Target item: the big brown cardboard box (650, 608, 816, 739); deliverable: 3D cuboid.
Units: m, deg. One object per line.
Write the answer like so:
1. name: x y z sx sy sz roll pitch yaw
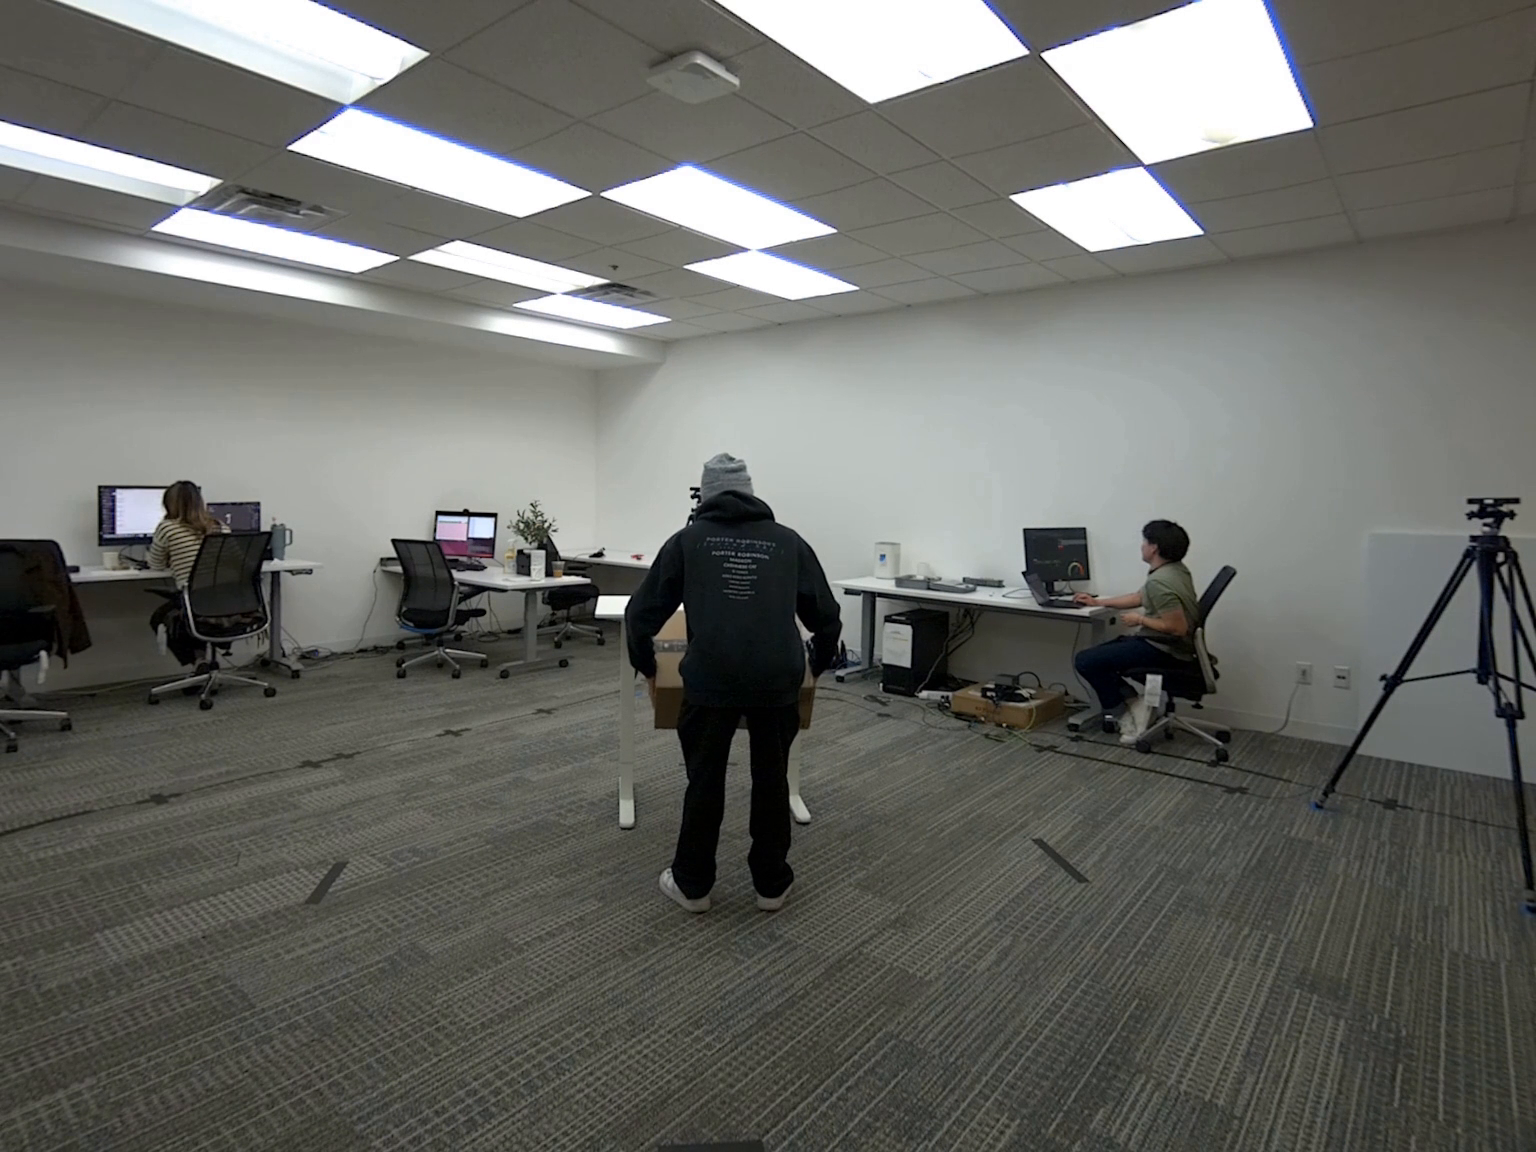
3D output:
1. big brown cardboard box: -0.148 0.342 3.178 0.585 0.227 0.430 1 36 -6
